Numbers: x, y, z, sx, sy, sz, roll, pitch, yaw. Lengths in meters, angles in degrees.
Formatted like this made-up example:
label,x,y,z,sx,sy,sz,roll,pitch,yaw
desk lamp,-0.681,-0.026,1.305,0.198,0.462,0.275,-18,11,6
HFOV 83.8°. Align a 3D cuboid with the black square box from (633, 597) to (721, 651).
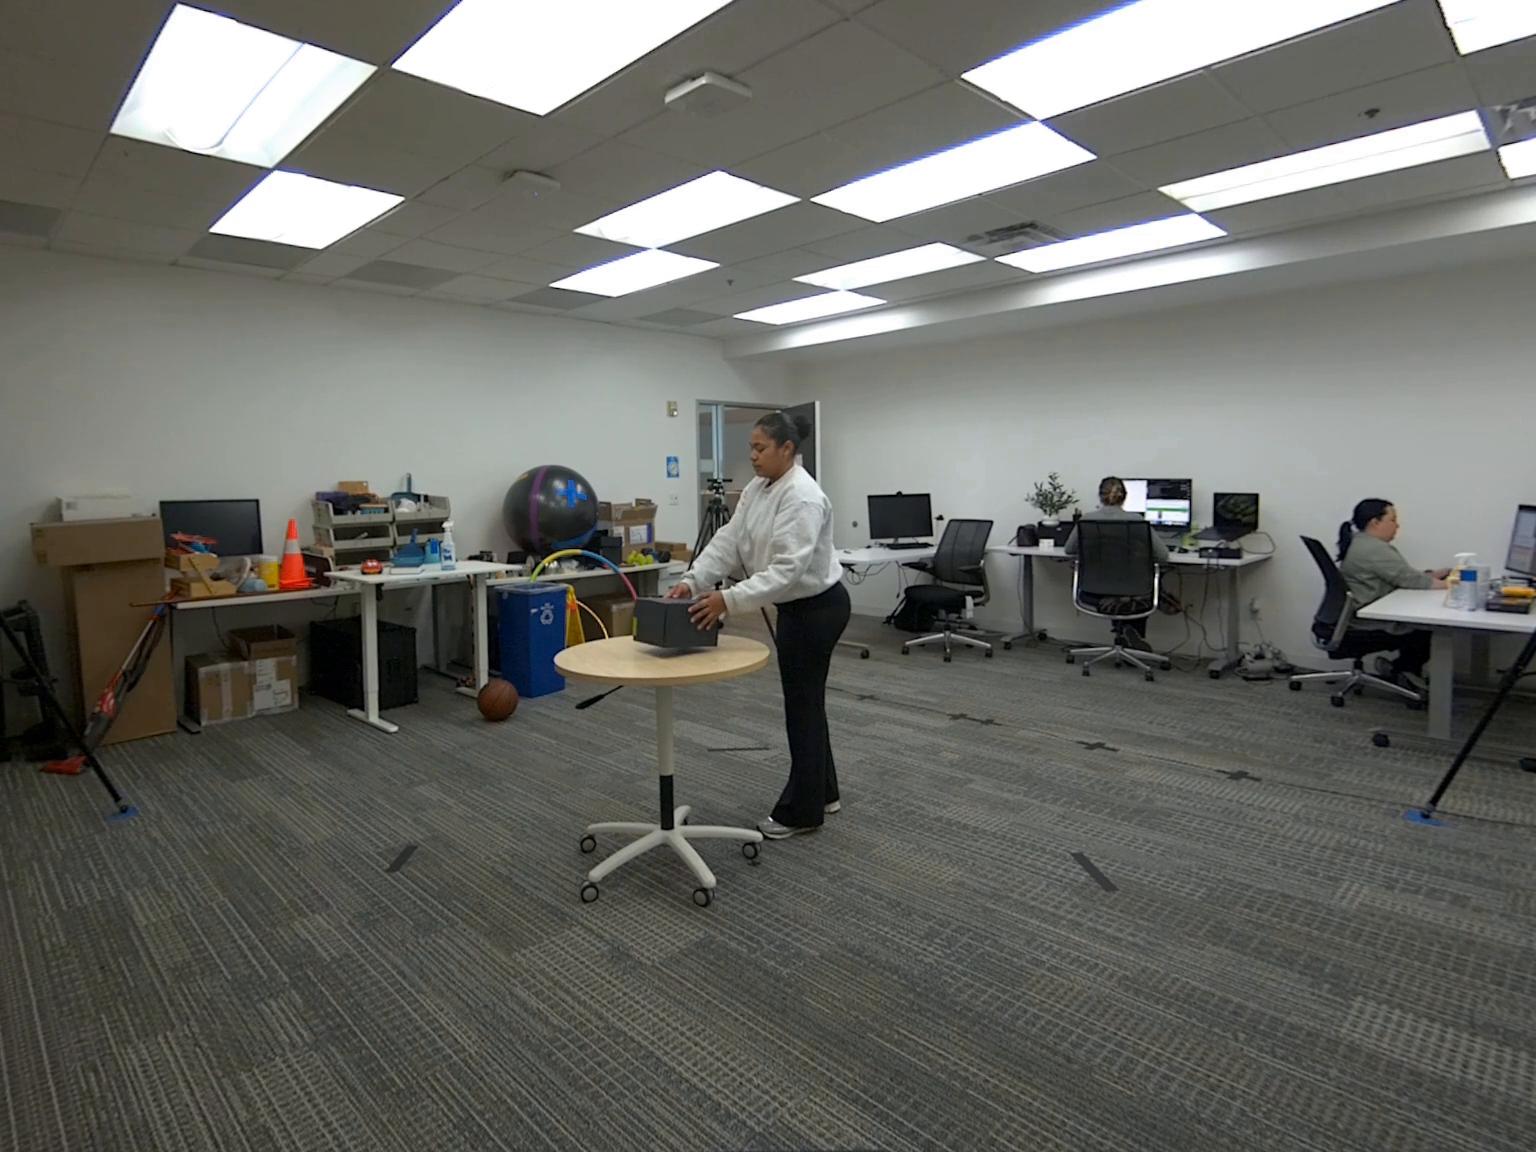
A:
label,x,y,z,sx,sy,sz,roll,pitch,yaw
black square box,-0.327,0.159,3.079,0.221,0.156,0.223,2,1,-38
